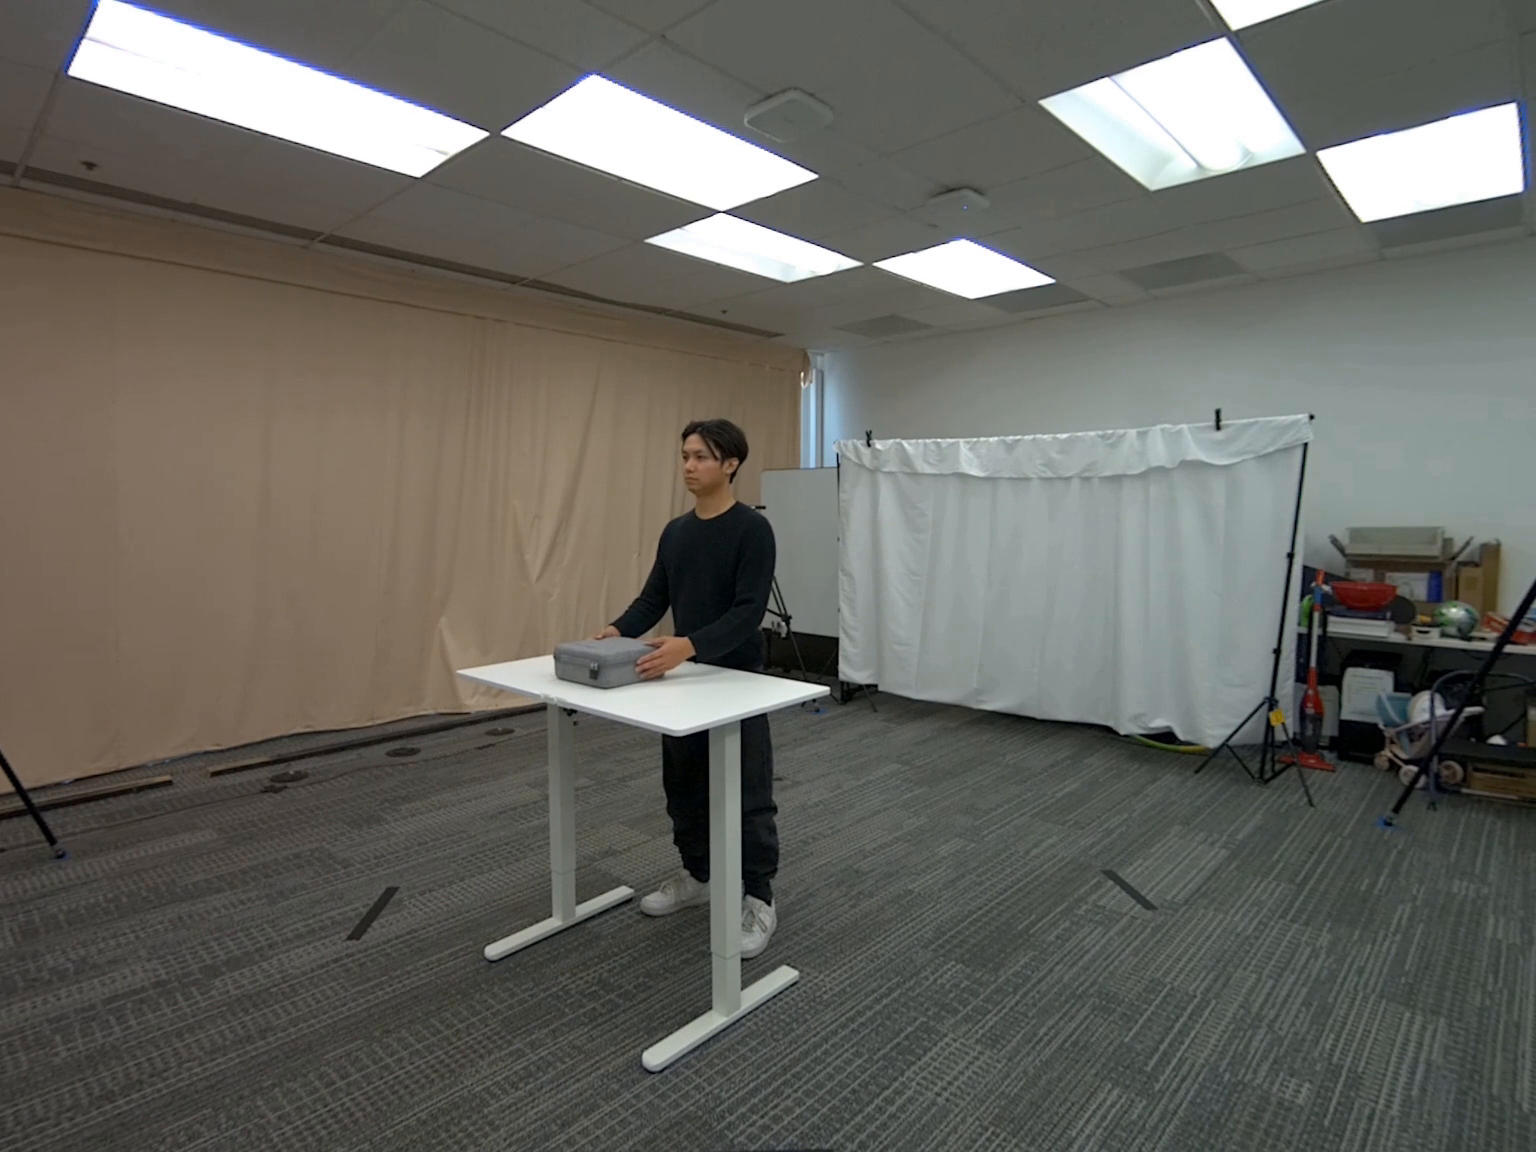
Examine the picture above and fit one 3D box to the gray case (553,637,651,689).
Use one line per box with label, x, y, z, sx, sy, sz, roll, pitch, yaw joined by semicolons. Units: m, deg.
gray case;-0.473;0.253;2.507;0.265;0.104;0.253;3;7;42
